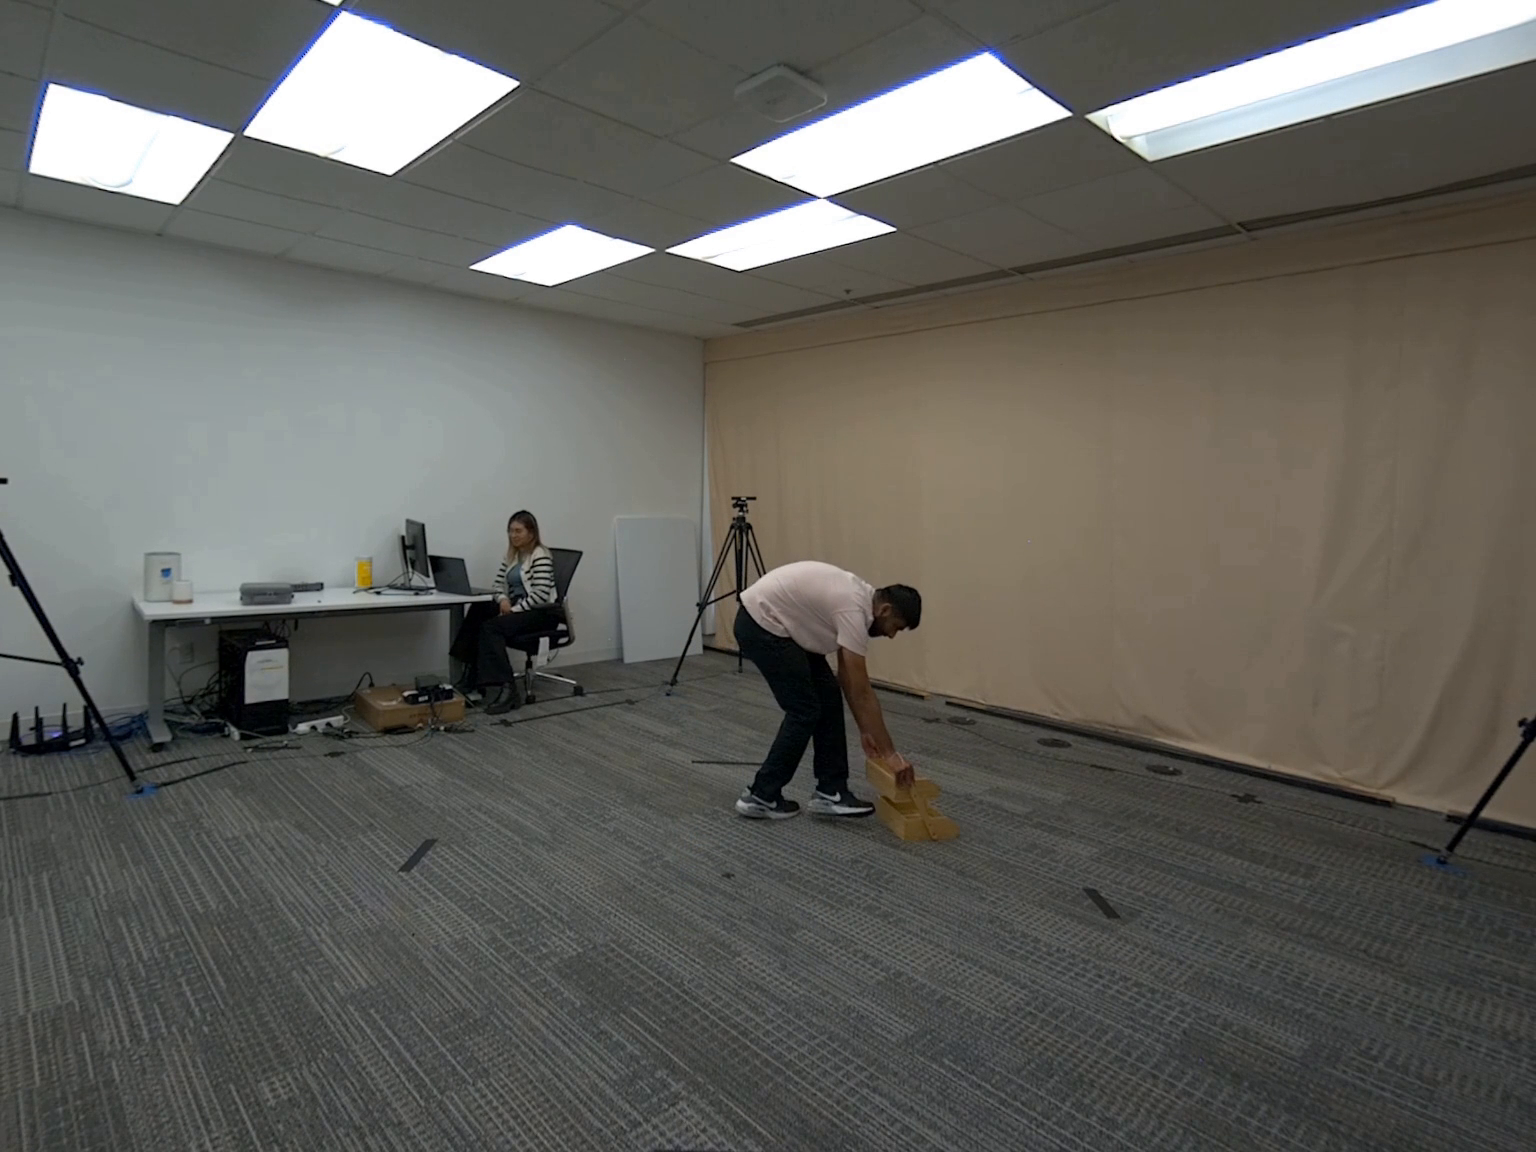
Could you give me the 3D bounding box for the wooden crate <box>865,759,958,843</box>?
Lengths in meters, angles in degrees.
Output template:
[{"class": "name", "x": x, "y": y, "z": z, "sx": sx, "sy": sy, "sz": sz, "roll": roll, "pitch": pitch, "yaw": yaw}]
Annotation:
[{"class": "wooden crate", "x": 0.613, "y": 0.949, "z": 3.621, "sx": 0.298, "sy": 0.273, "sz": 0.329, "roll": 0, "pitch": 4, "yaw": -15}]
